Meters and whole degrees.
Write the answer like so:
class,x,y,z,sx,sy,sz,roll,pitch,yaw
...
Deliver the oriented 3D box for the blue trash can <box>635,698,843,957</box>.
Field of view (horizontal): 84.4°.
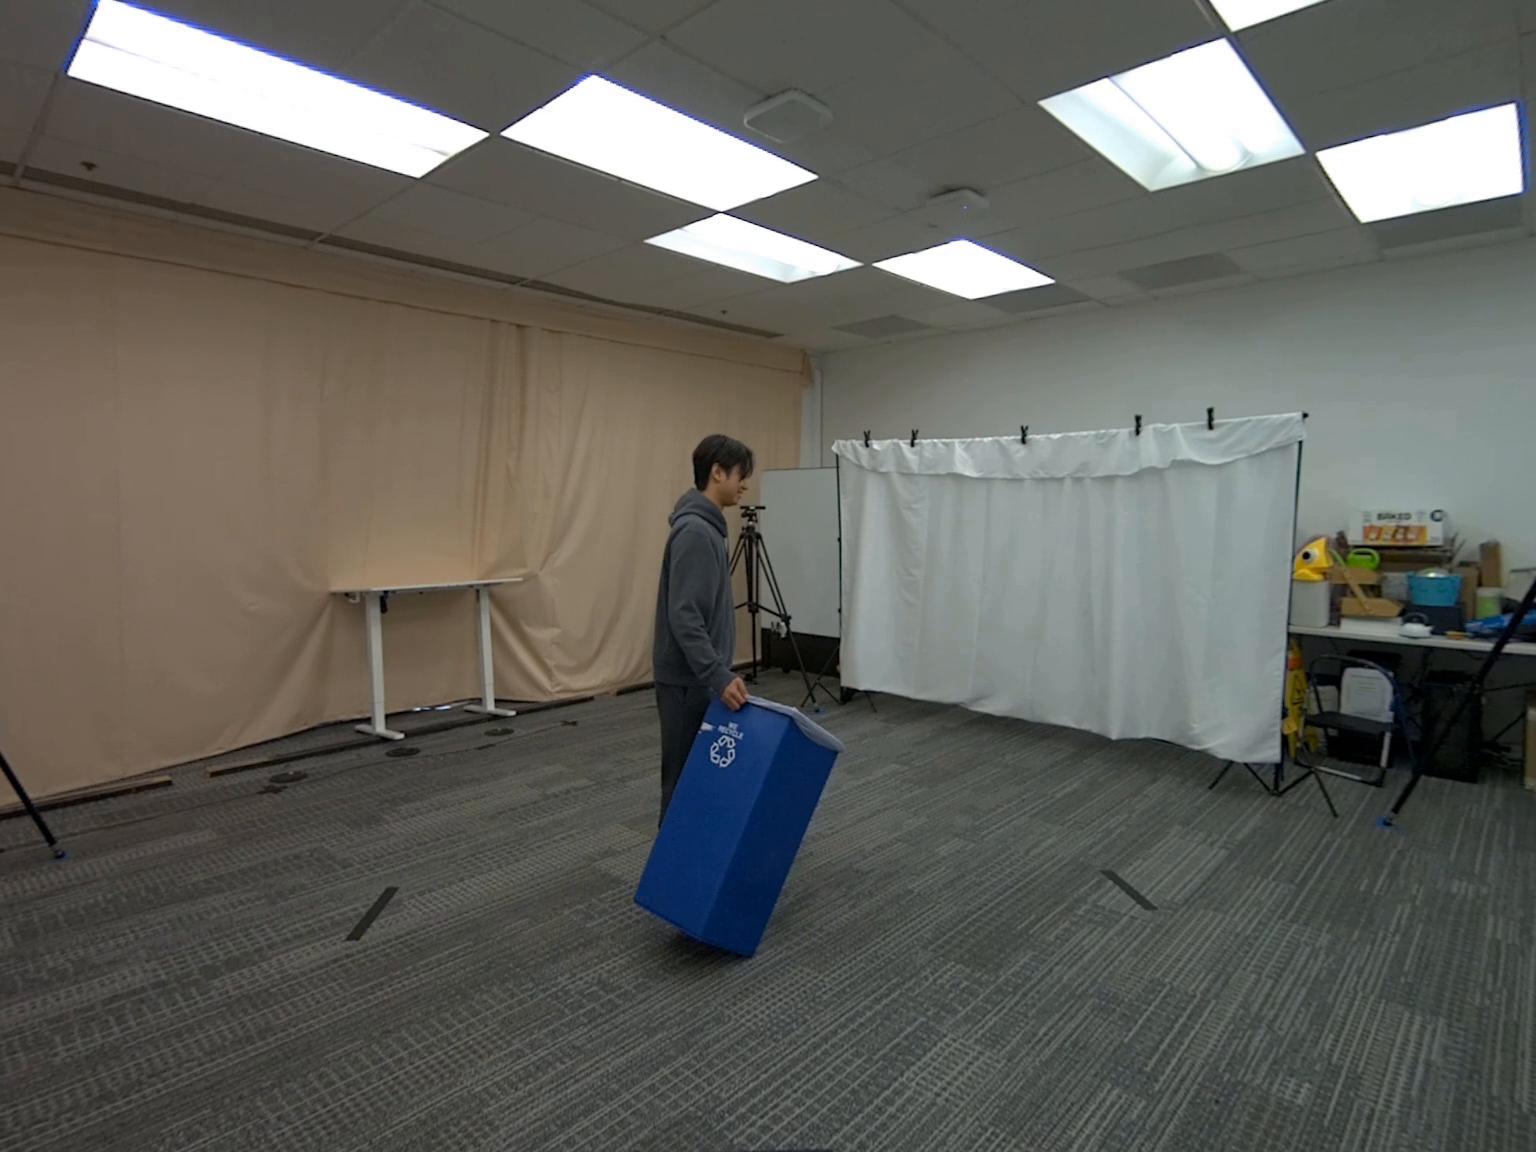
class,x,y,z,sx,sy,sz,roll,pitch,yaw
blue trash can,-0.076,0.781,2.705,0.387,0.715,0.364,7,-23,40
